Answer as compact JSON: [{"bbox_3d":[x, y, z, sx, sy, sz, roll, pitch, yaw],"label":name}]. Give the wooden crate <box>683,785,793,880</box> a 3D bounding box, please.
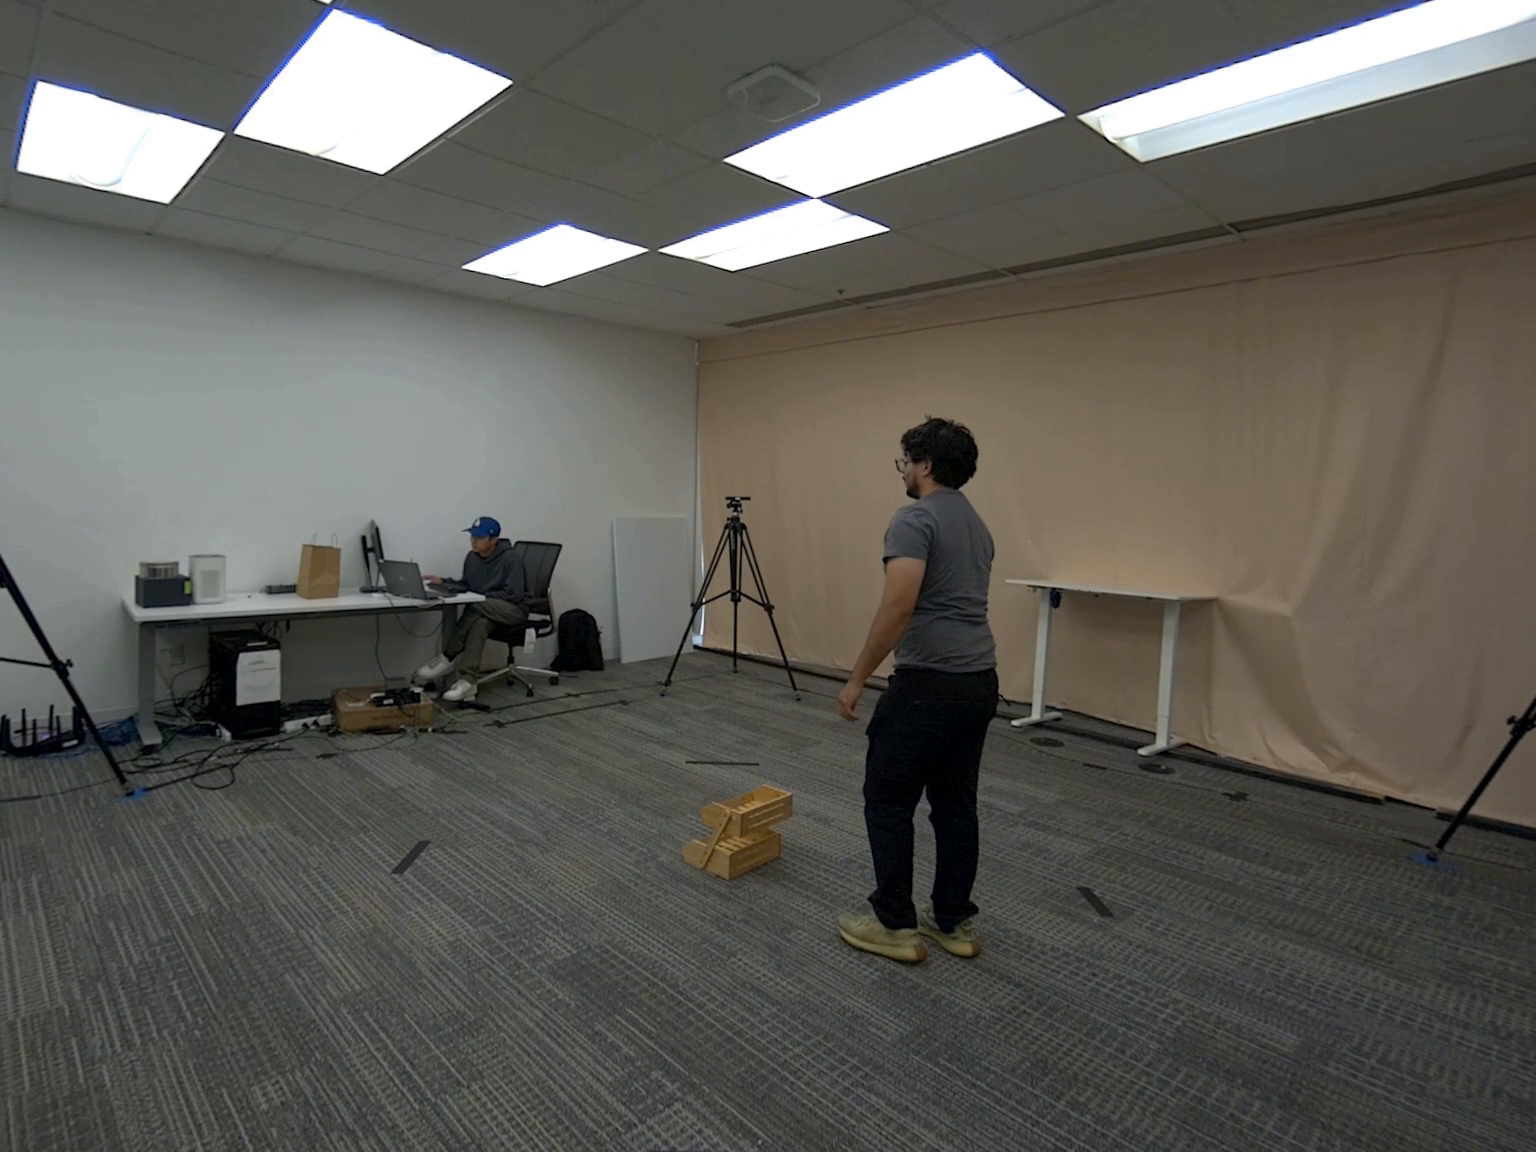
[{"bbox_3d":[-0.128,0.962,3.238,0.310,0.272,0.317,5,5,41],"label":"wooden crate"}]
